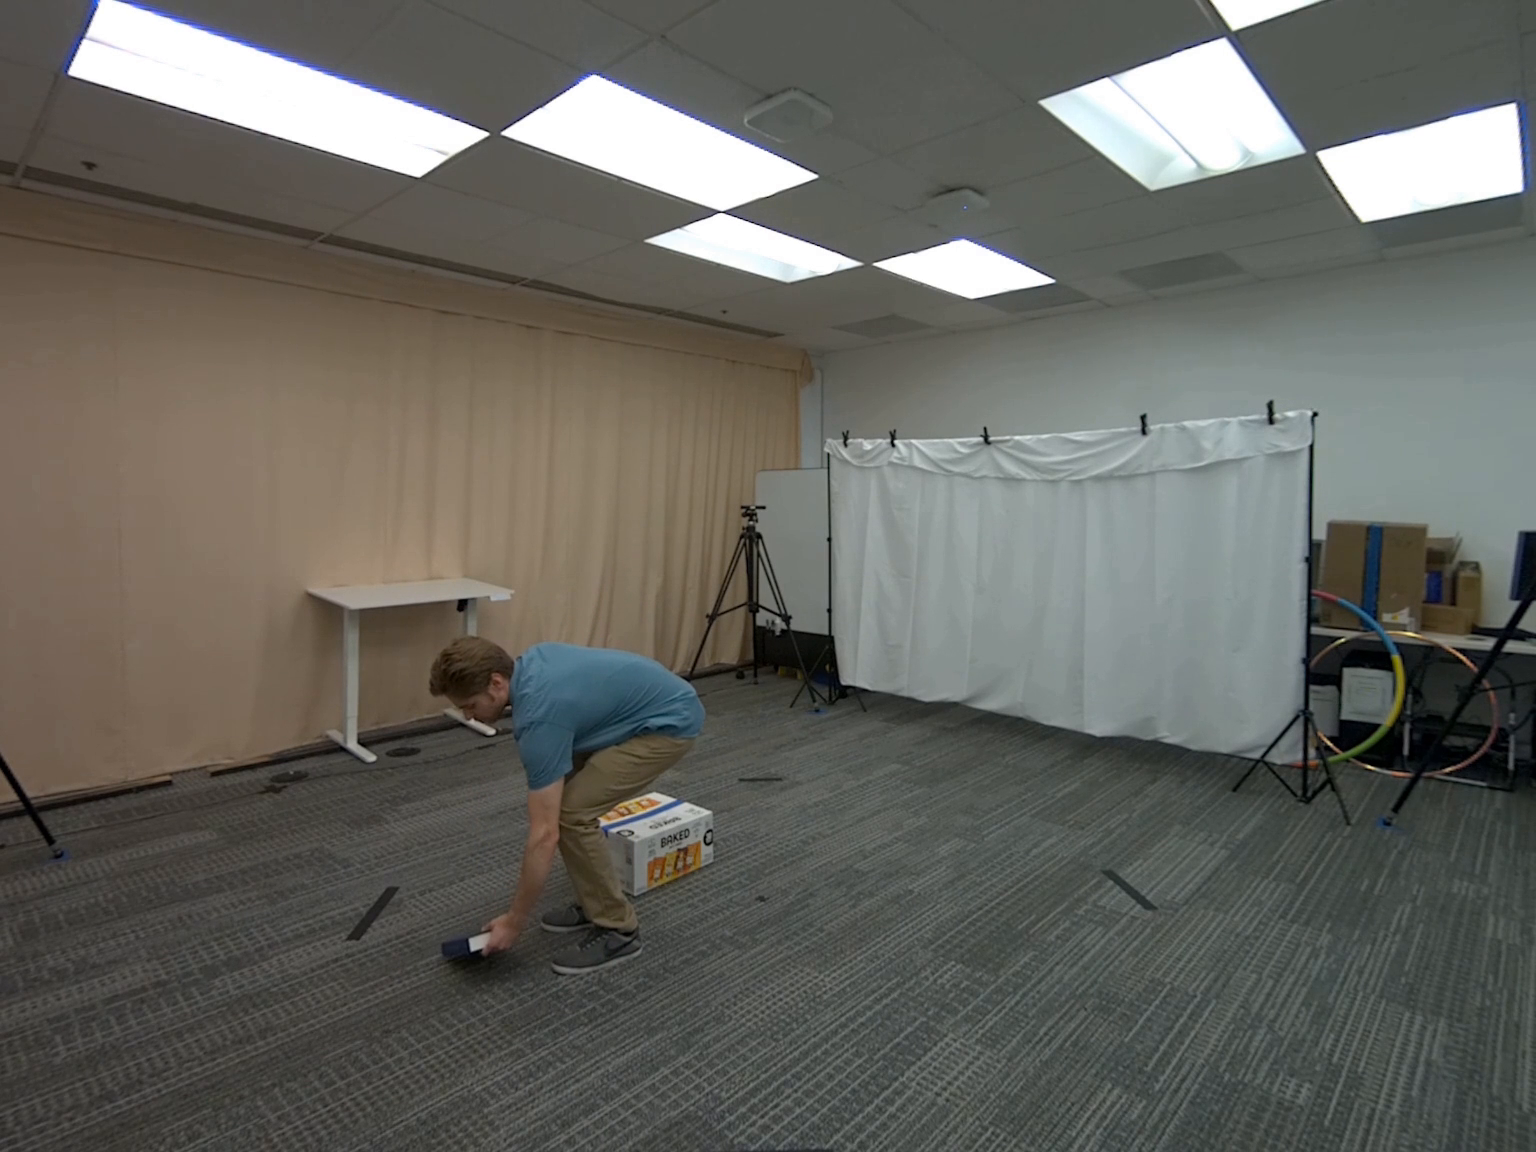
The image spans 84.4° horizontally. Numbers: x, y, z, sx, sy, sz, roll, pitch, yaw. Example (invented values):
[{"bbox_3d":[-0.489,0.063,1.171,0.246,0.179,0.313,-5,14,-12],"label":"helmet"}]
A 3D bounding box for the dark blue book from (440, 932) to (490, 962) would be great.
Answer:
[{"bbox_3d":[-0.874,1.111,2.558,0.158,0.046,0.249,-2,-21,-40],"label":"dark blue book"}]
